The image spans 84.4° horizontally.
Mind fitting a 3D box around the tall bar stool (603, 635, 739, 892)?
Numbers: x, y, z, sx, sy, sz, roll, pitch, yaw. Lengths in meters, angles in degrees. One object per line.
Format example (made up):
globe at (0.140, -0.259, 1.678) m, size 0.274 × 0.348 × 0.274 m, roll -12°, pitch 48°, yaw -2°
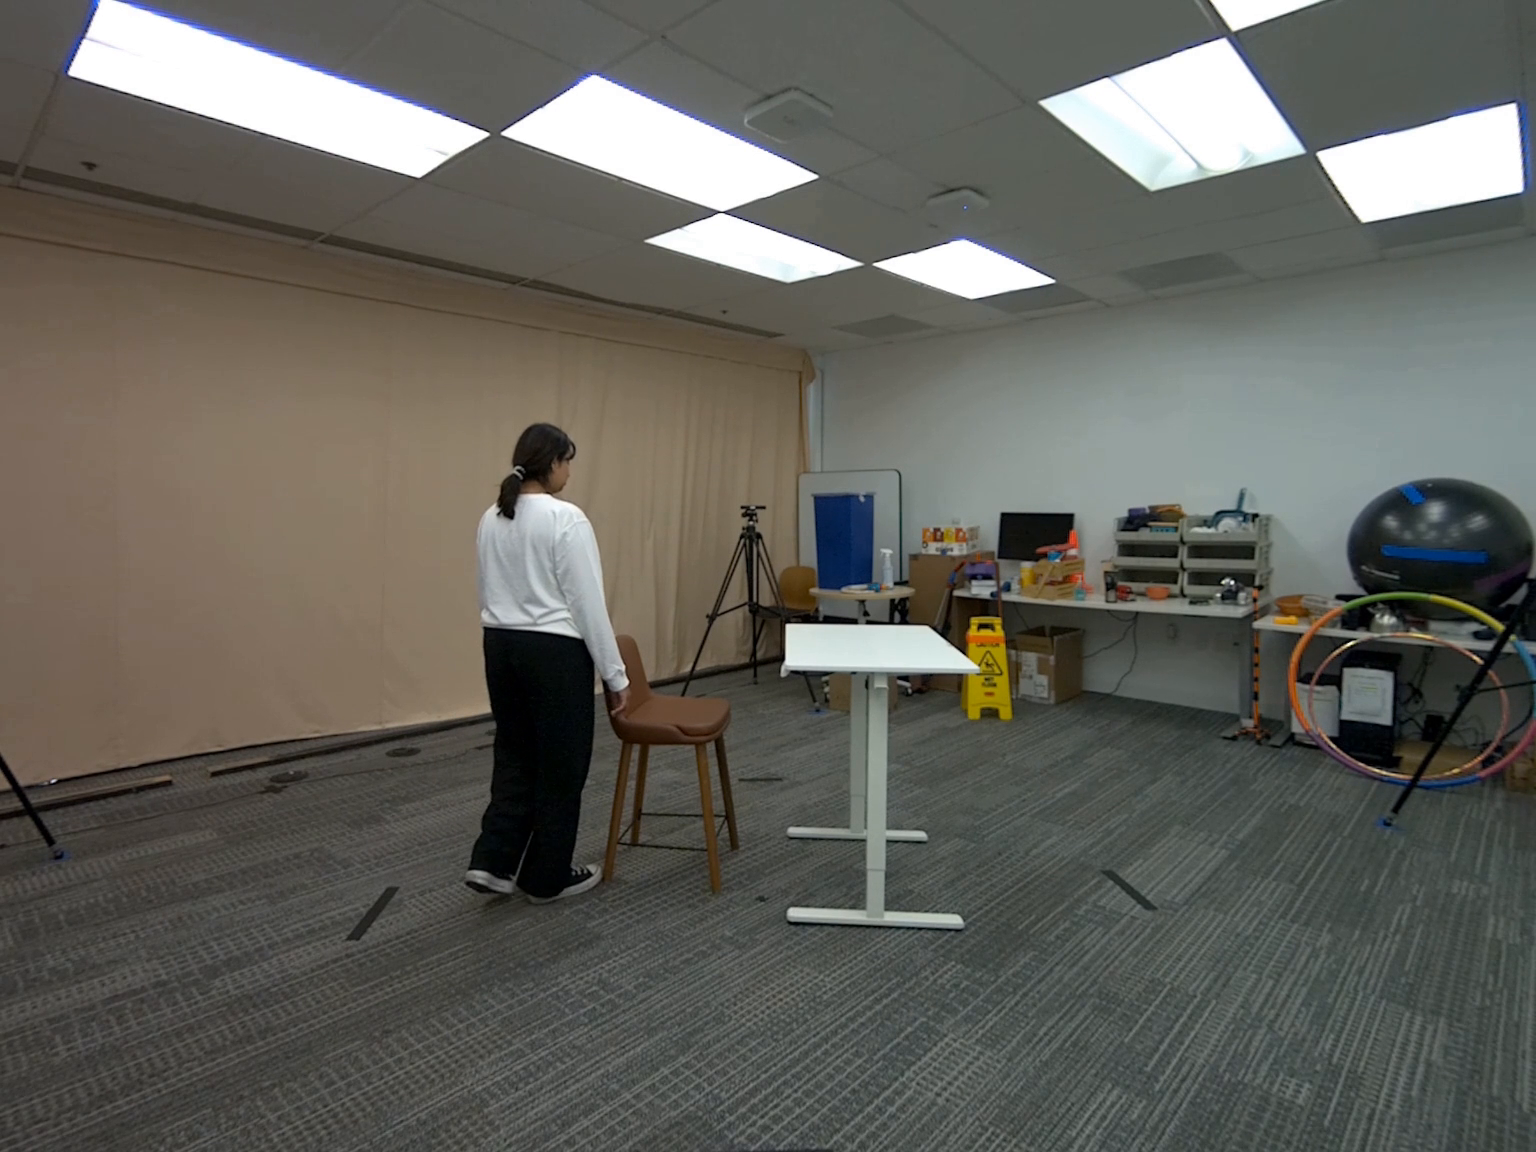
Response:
tall bar stool at (-0.376, 0.688, 3.246) m, size 0.474 × 0.888 × 0.451 m, roll -2°, pitch 3°, yaw 11°
